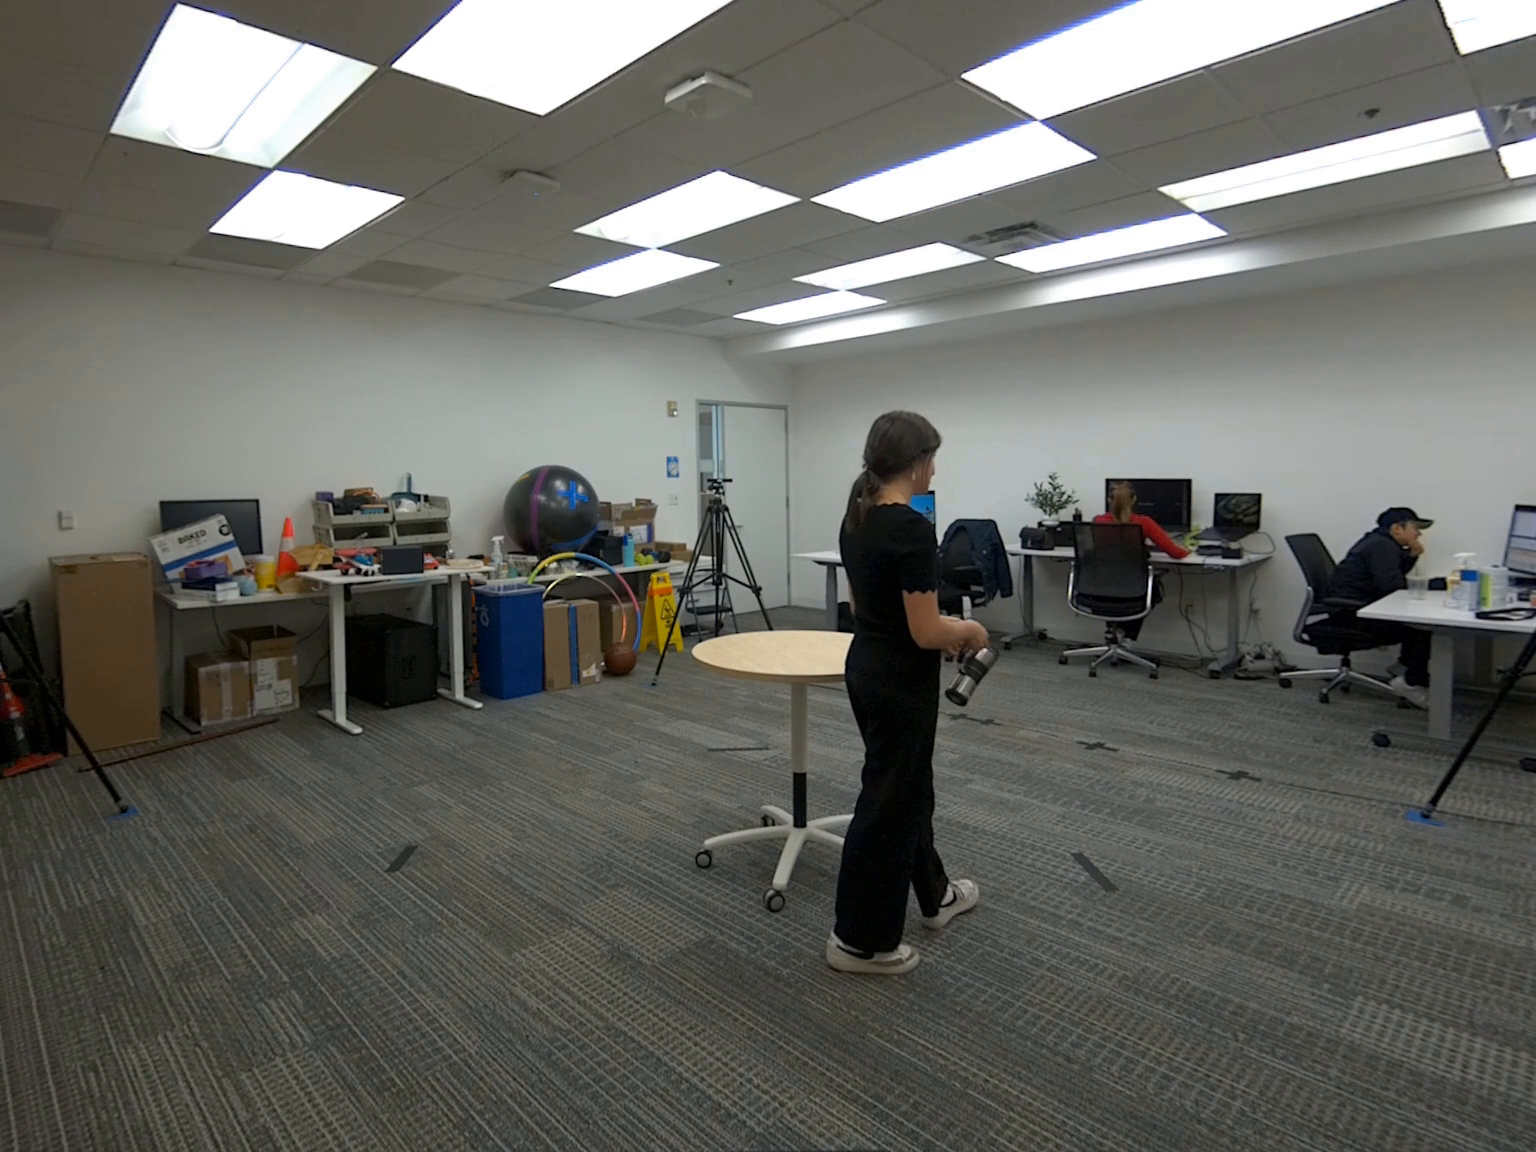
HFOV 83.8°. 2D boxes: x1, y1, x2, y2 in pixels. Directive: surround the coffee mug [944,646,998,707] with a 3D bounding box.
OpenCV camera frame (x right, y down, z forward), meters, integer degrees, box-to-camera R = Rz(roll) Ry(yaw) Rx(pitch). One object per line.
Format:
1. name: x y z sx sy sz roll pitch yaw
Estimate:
1. coffee mug: 0.605 0.279 2.588 0.203 0.118 0.091 -49 31 -18
